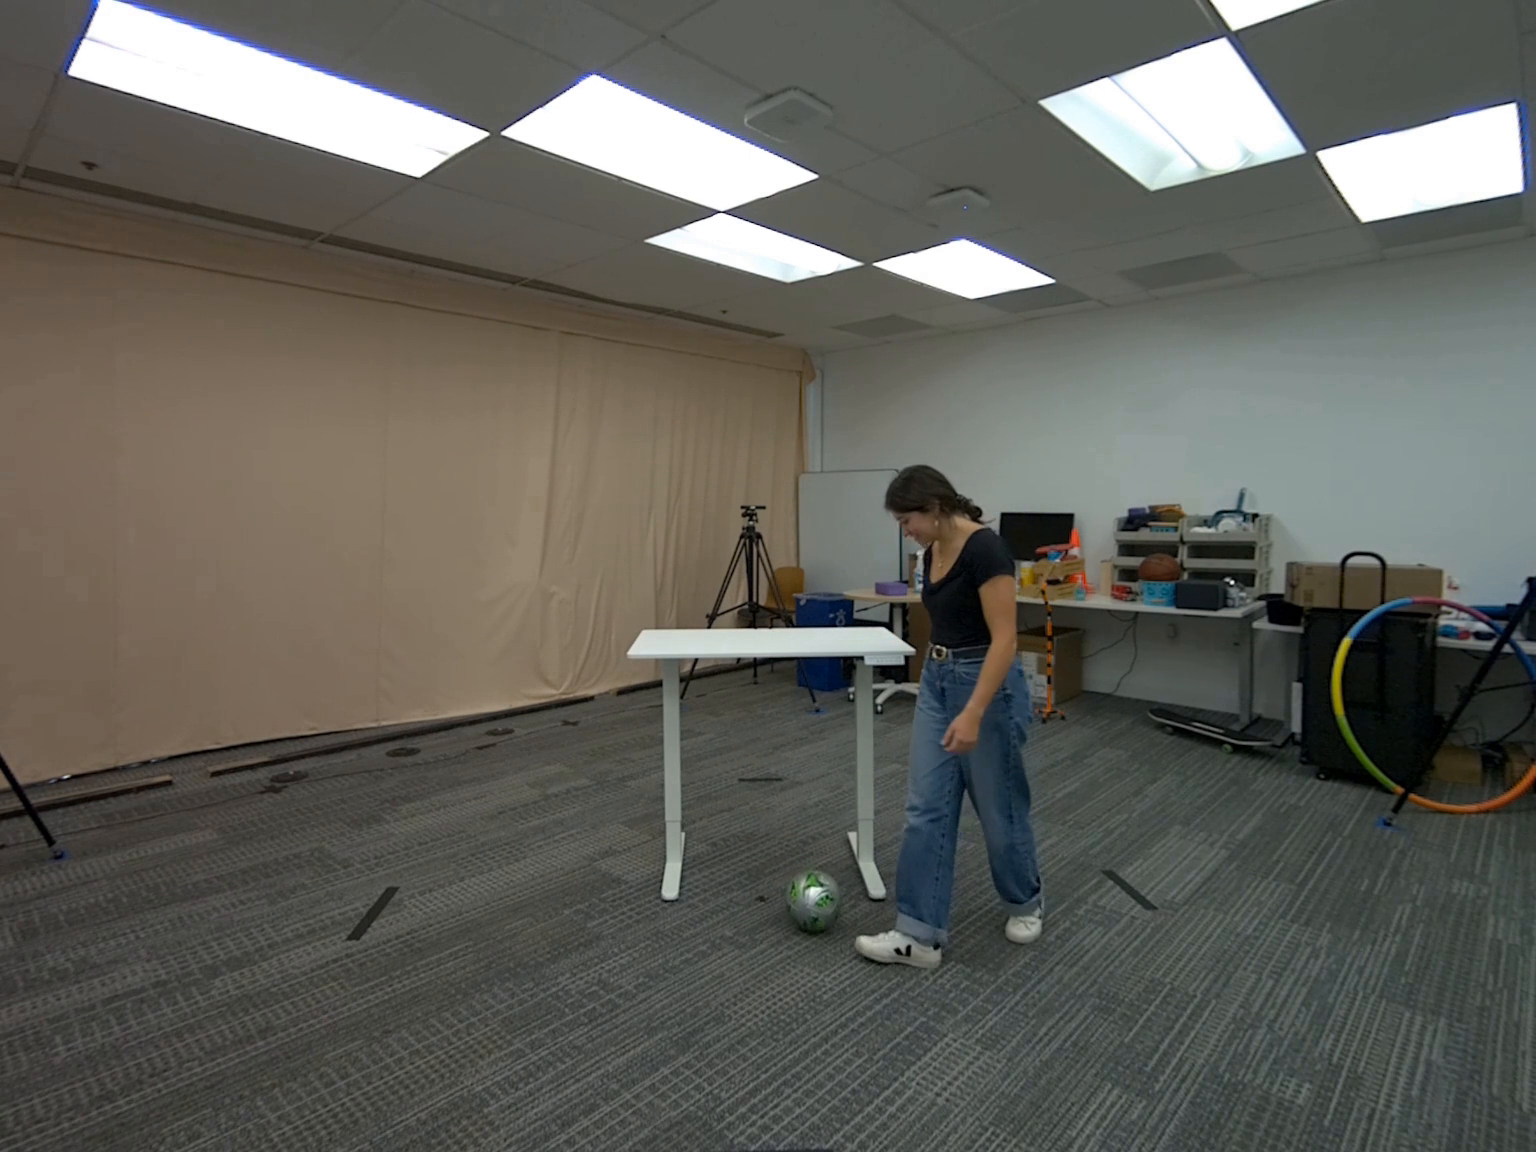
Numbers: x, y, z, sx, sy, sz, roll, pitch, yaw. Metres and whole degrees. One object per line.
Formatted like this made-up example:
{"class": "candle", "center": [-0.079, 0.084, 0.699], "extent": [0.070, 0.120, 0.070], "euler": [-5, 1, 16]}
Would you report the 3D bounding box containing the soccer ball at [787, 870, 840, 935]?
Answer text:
{"class": "soccer ball", "center": [0.160, 1.069, 2.768], "extent": [0.187, 0.187, 0.188], "euler": [0, 4, -2]}
